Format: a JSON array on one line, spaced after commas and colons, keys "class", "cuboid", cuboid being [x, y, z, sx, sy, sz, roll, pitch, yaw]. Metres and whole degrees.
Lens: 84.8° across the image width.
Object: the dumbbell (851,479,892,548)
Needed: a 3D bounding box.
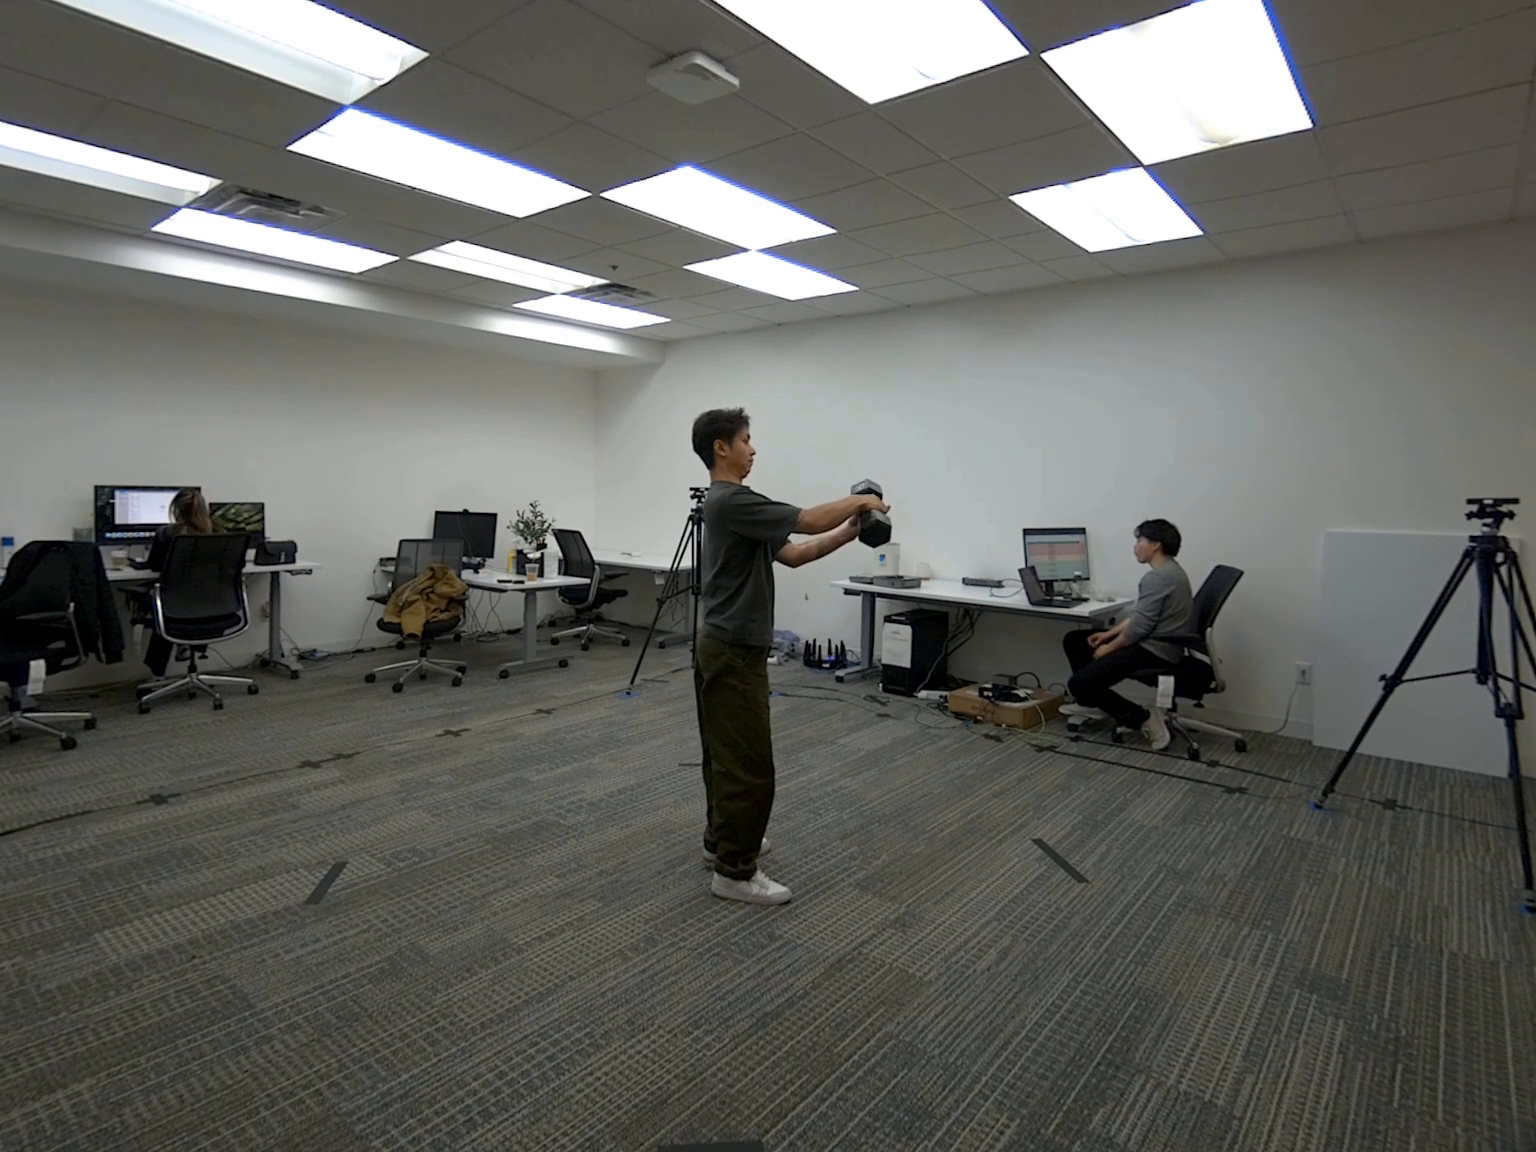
[{"class": "dumbbell", "cuboid": [0.352, -0.223, 2.992, 0.109, 0.119, 0.302, -2, 37, -1]}]
